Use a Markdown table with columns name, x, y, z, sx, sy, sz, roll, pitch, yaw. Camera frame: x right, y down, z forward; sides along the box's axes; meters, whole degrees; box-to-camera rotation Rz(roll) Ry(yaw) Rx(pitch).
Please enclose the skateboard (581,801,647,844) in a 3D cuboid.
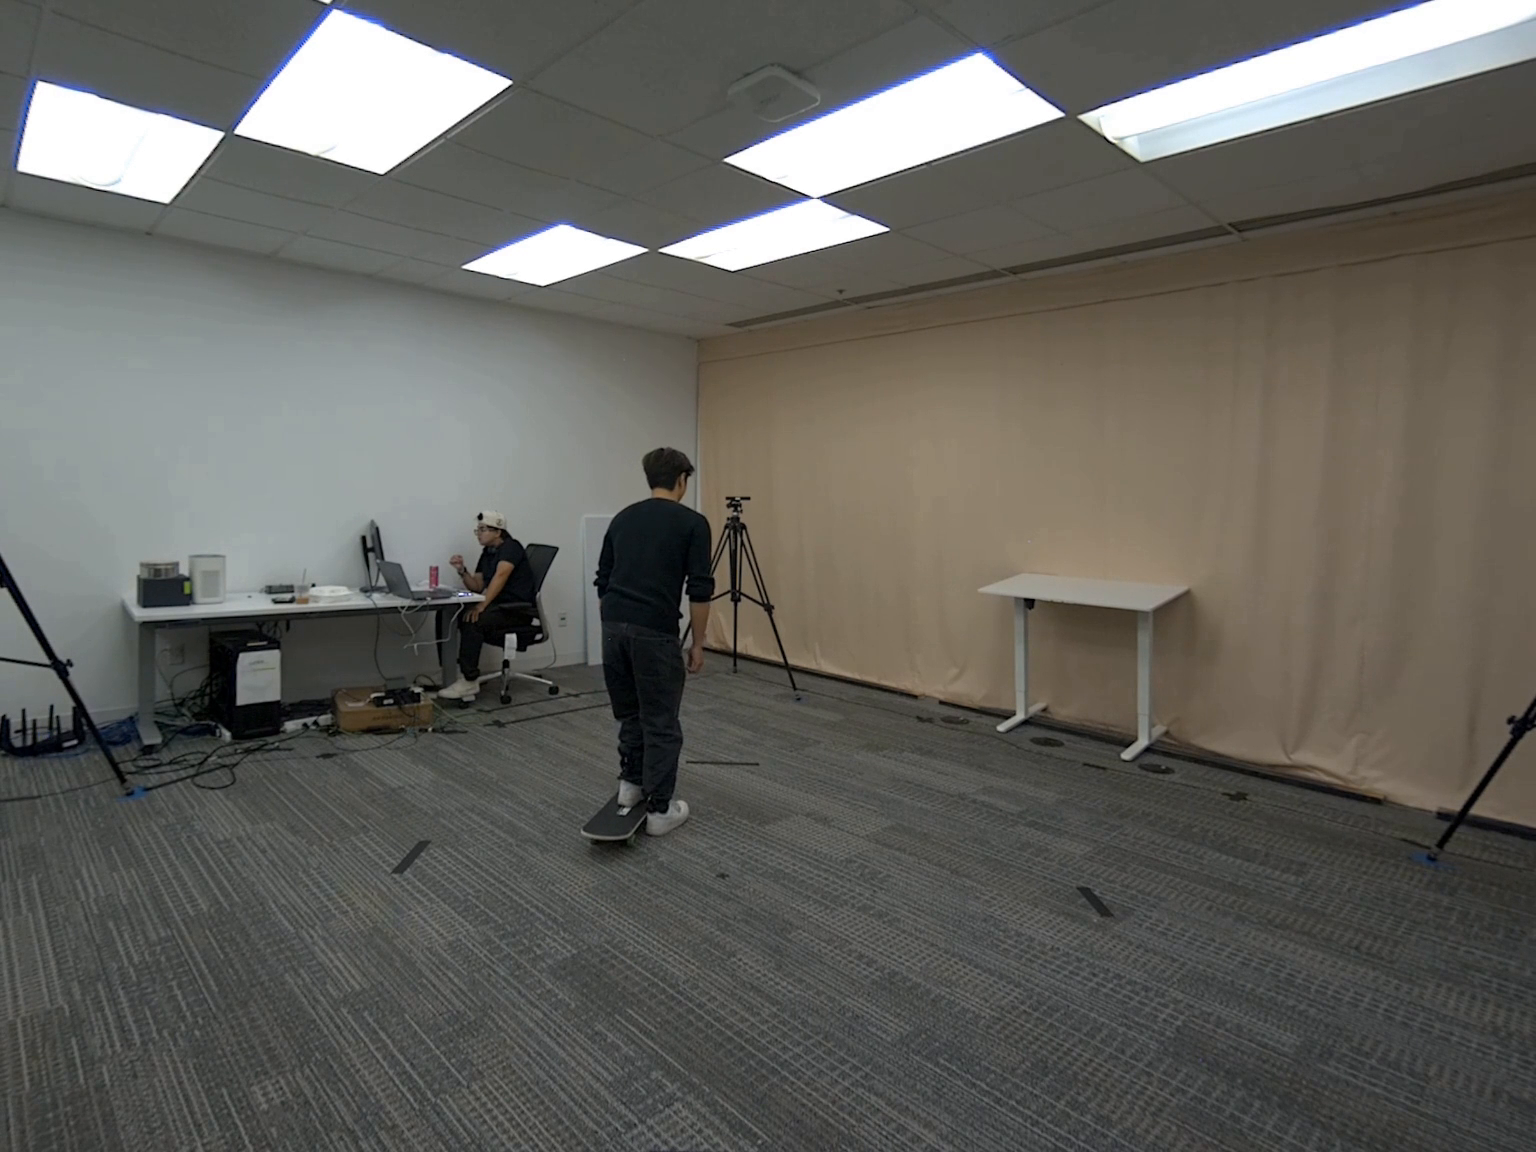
| name | x | y | z | sx | sy | sz | roll | pitch | yaw |
| --- | --- | --- | --- | --- | --- | --- | --- | --- | --- |
| skateboard | -0.603 | 1.002 | 3.555 | 0.195 | 0.110 | 0.781 | 3 | 4 | 7 |
